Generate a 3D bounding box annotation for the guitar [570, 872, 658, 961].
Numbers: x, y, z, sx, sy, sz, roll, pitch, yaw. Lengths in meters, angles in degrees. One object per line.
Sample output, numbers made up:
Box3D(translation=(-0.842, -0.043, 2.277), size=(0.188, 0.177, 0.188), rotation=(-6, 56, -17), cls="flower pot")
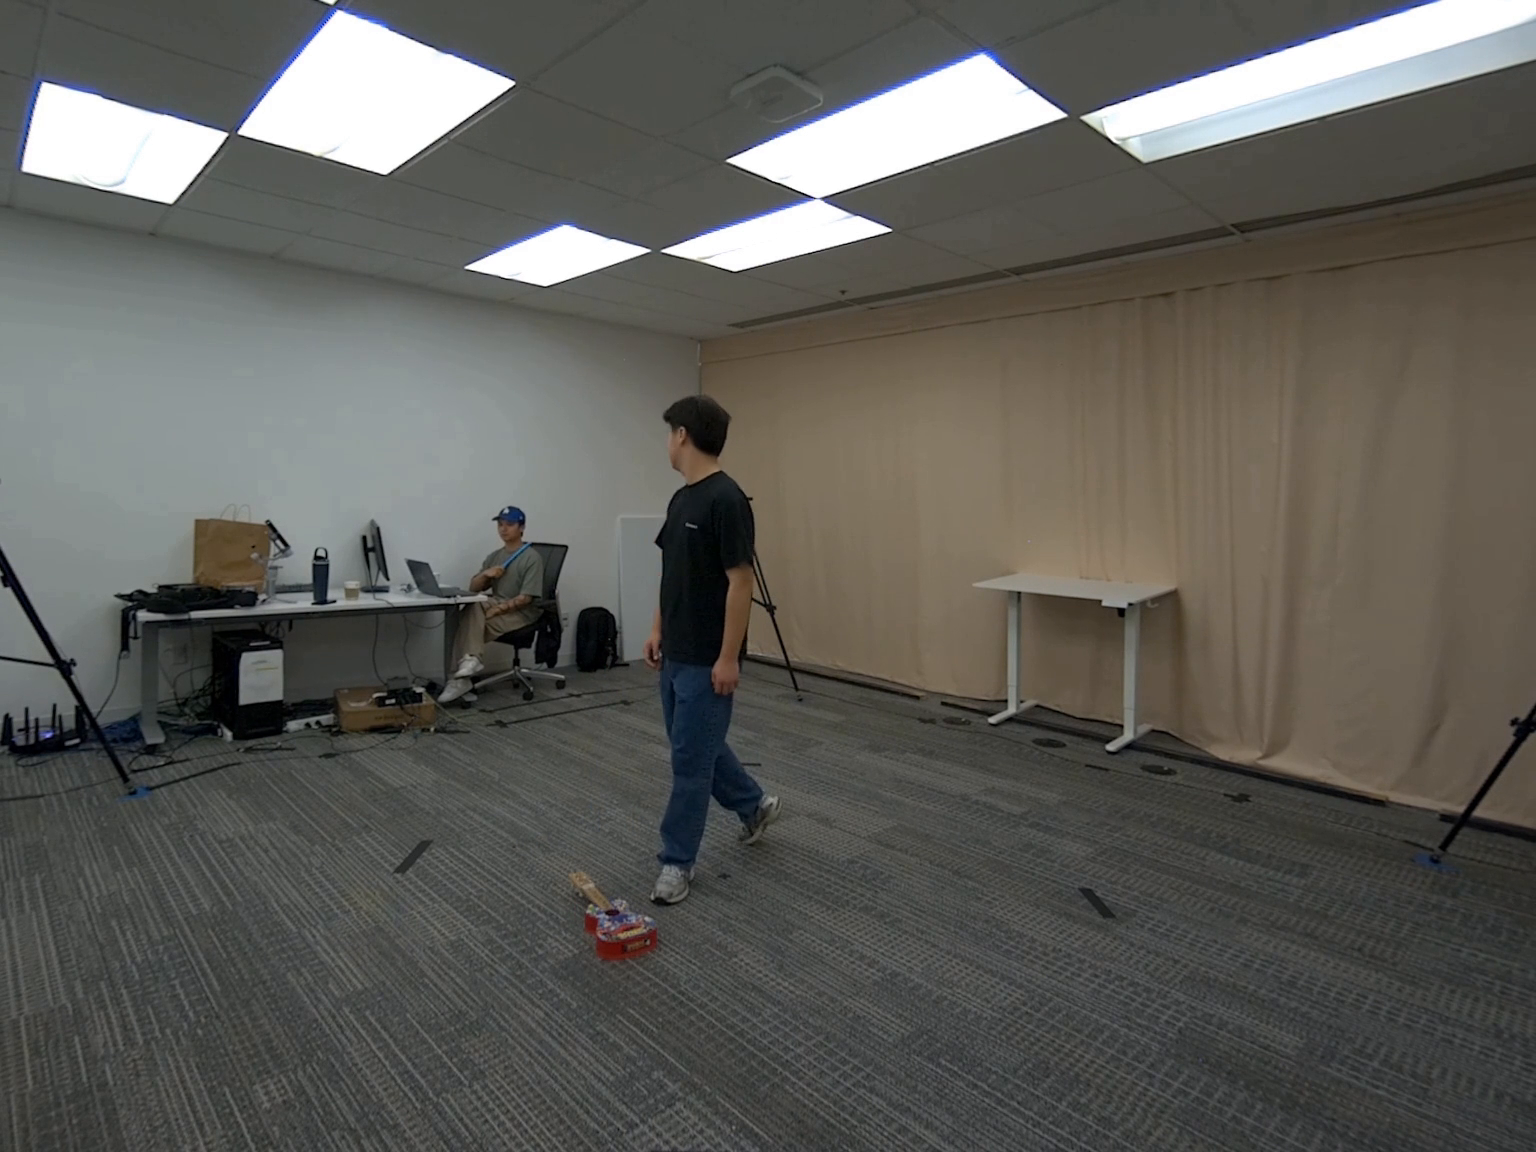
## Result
Box3D(translation=(-0.523, 1.099, 2.759), size=(0.190, 0.070, 0.508), rotation=(-2, 7, -25), cls="guitar")
